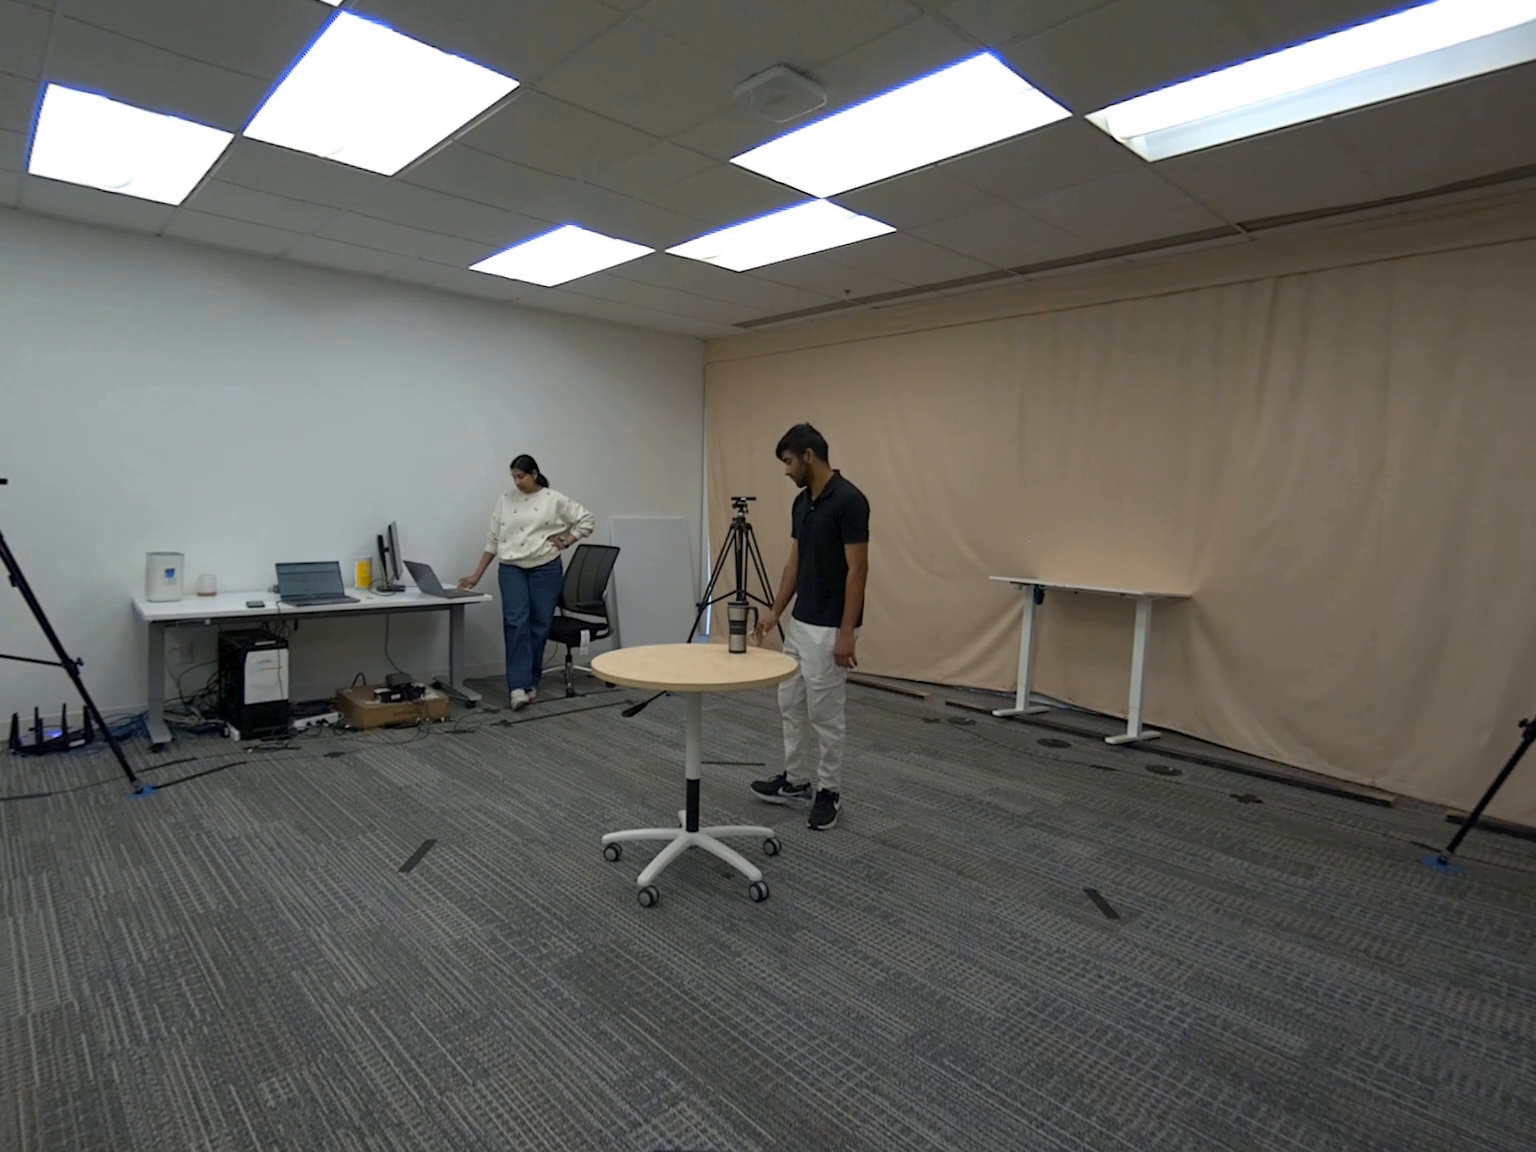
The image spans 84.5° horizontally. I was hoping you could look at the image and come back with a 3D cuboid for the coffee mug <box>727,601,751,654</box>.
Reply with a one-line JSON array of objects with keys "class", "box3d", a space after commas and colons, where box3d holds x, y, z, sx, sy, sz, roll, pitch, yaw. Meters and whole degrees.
[{"class": "coffee mug", "box3d": [-0.109, 0.205, 3.310, 0.125, 0.203, 0.086, 0, 0, 36]}]
